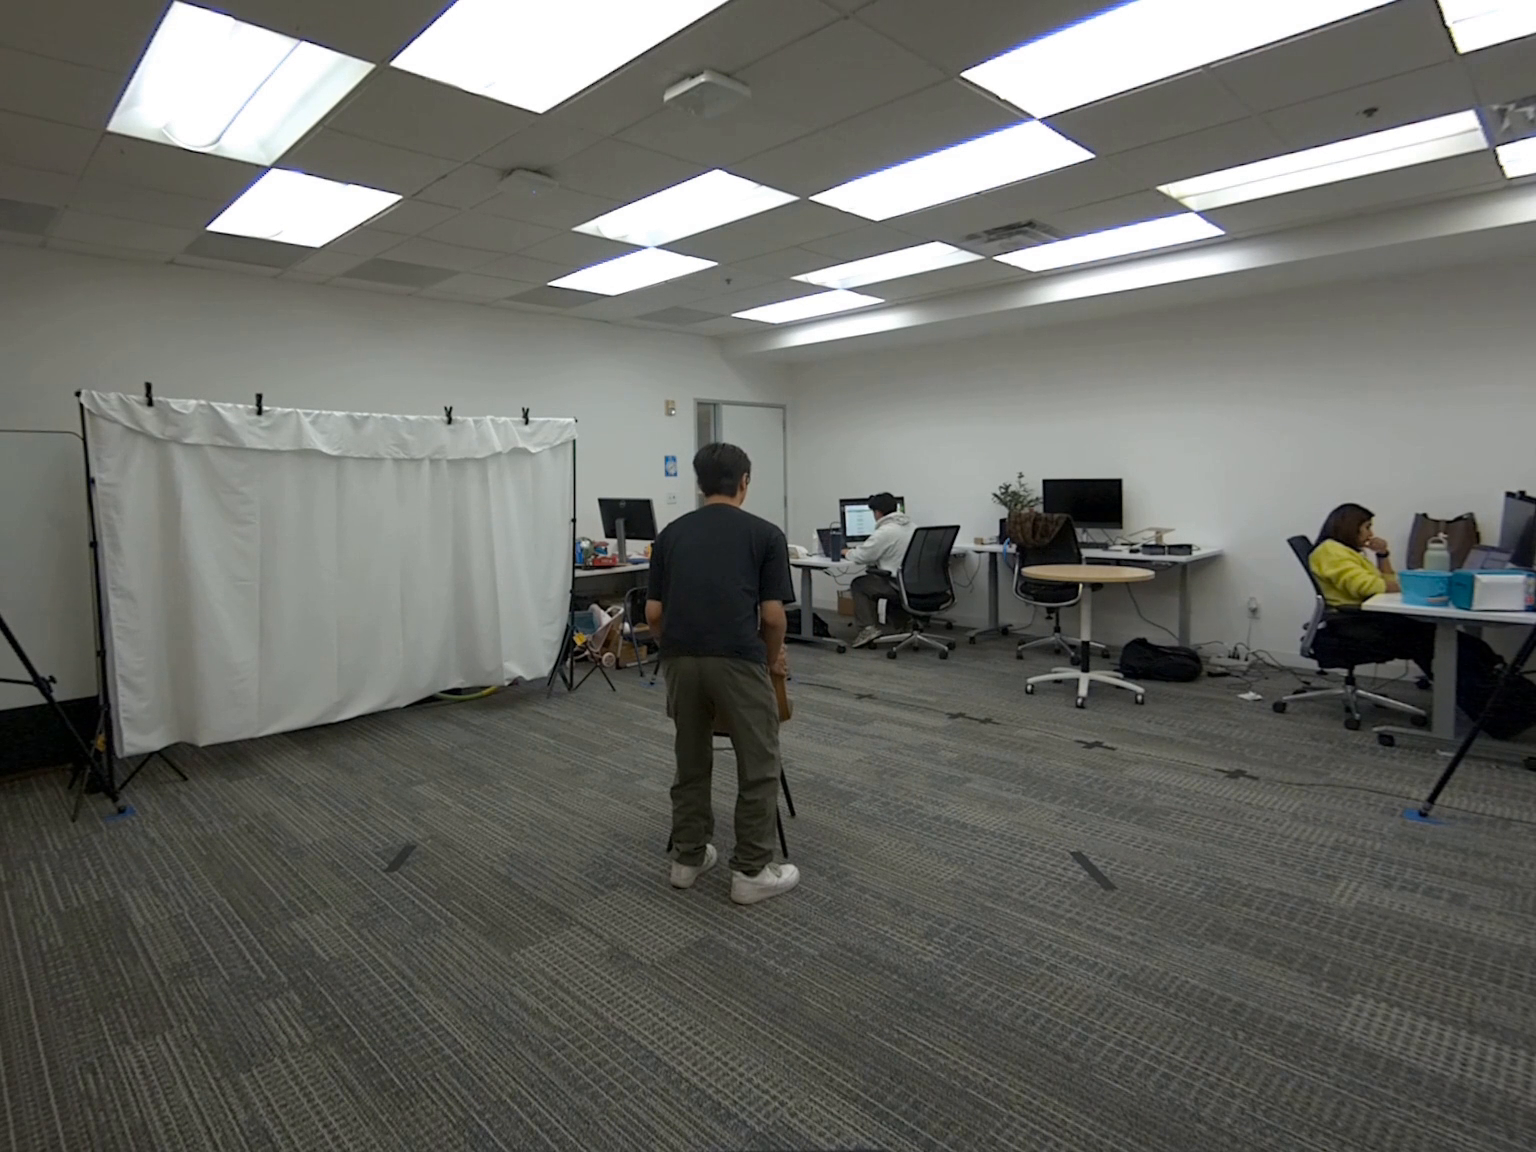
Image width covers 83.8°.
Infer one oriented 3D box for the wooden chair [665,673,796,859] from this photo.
[{"bbox_3d":[-0.133,0.580,3.342,0.481,0.873,0.522,-1,6,7],"label":"wooden chair"}]
